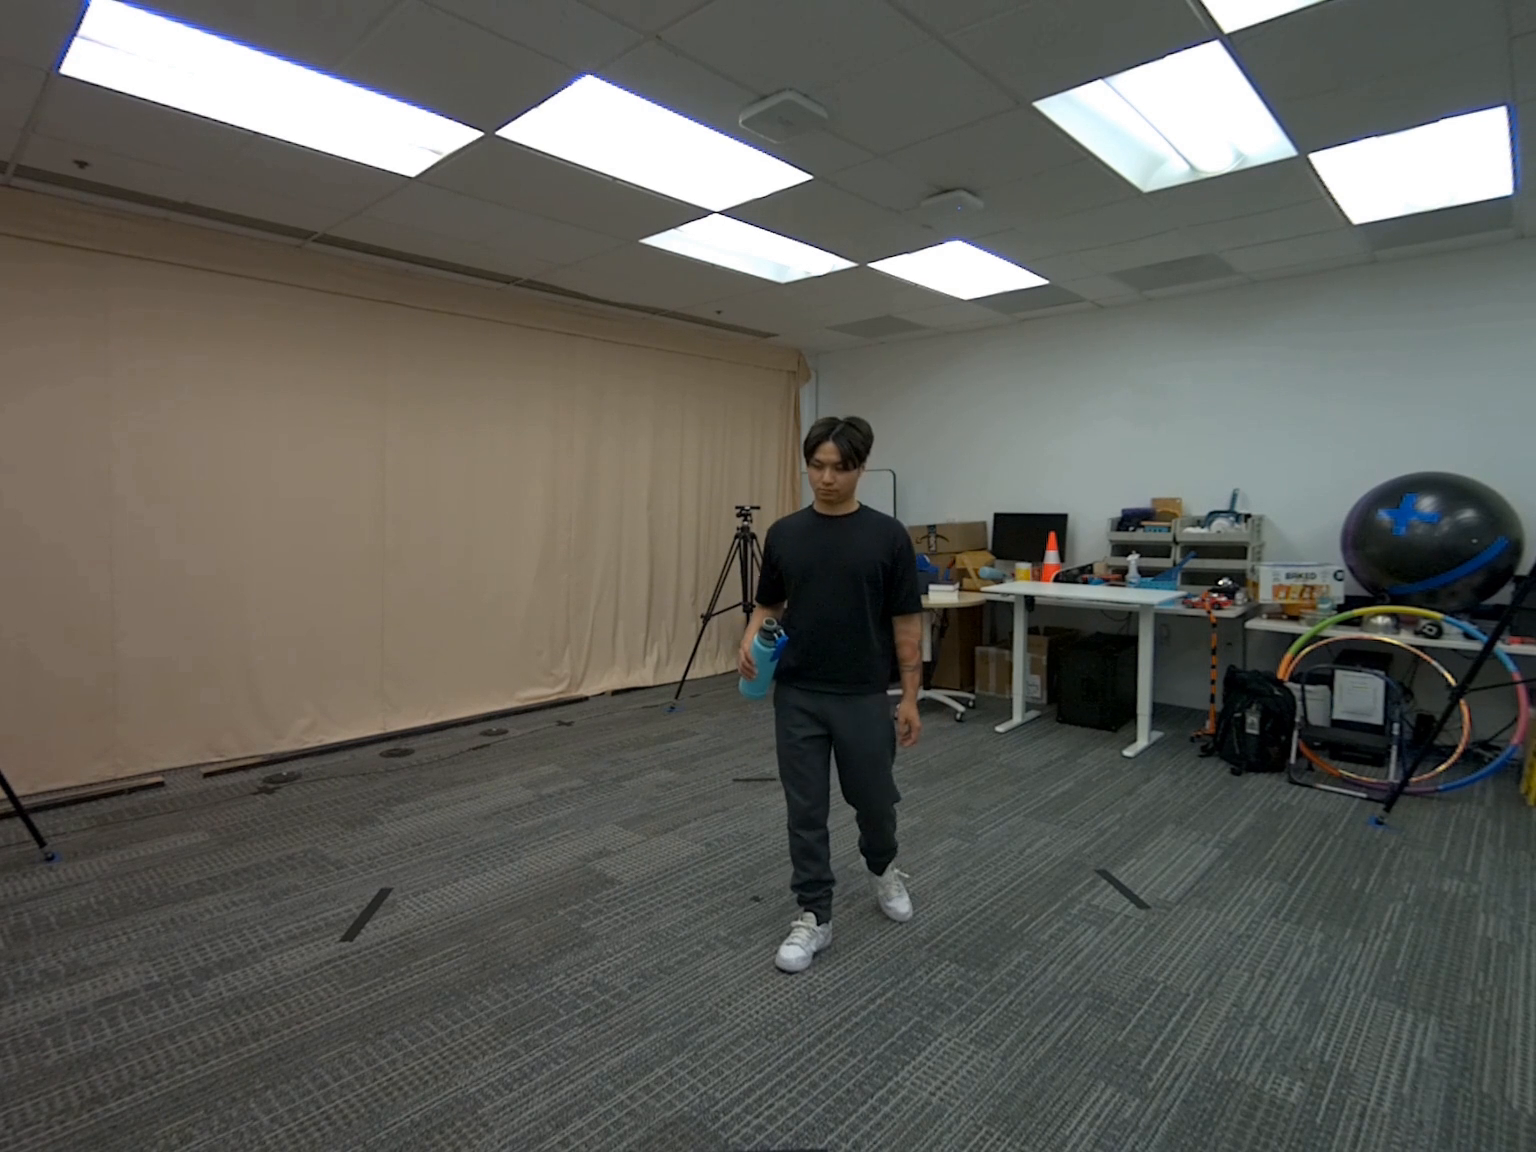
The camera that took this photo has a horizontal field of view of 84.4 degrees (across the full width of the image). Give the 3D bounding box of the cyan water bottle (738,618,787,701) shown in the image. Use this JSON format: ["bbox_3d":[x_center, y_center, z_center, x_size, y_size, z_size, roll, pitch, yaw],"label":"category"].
[{"bbox_3d":[0.001,0.249,2.540,0.091,0.281,0.094,9,42,-10],"label":"cyan water bottle"}]
